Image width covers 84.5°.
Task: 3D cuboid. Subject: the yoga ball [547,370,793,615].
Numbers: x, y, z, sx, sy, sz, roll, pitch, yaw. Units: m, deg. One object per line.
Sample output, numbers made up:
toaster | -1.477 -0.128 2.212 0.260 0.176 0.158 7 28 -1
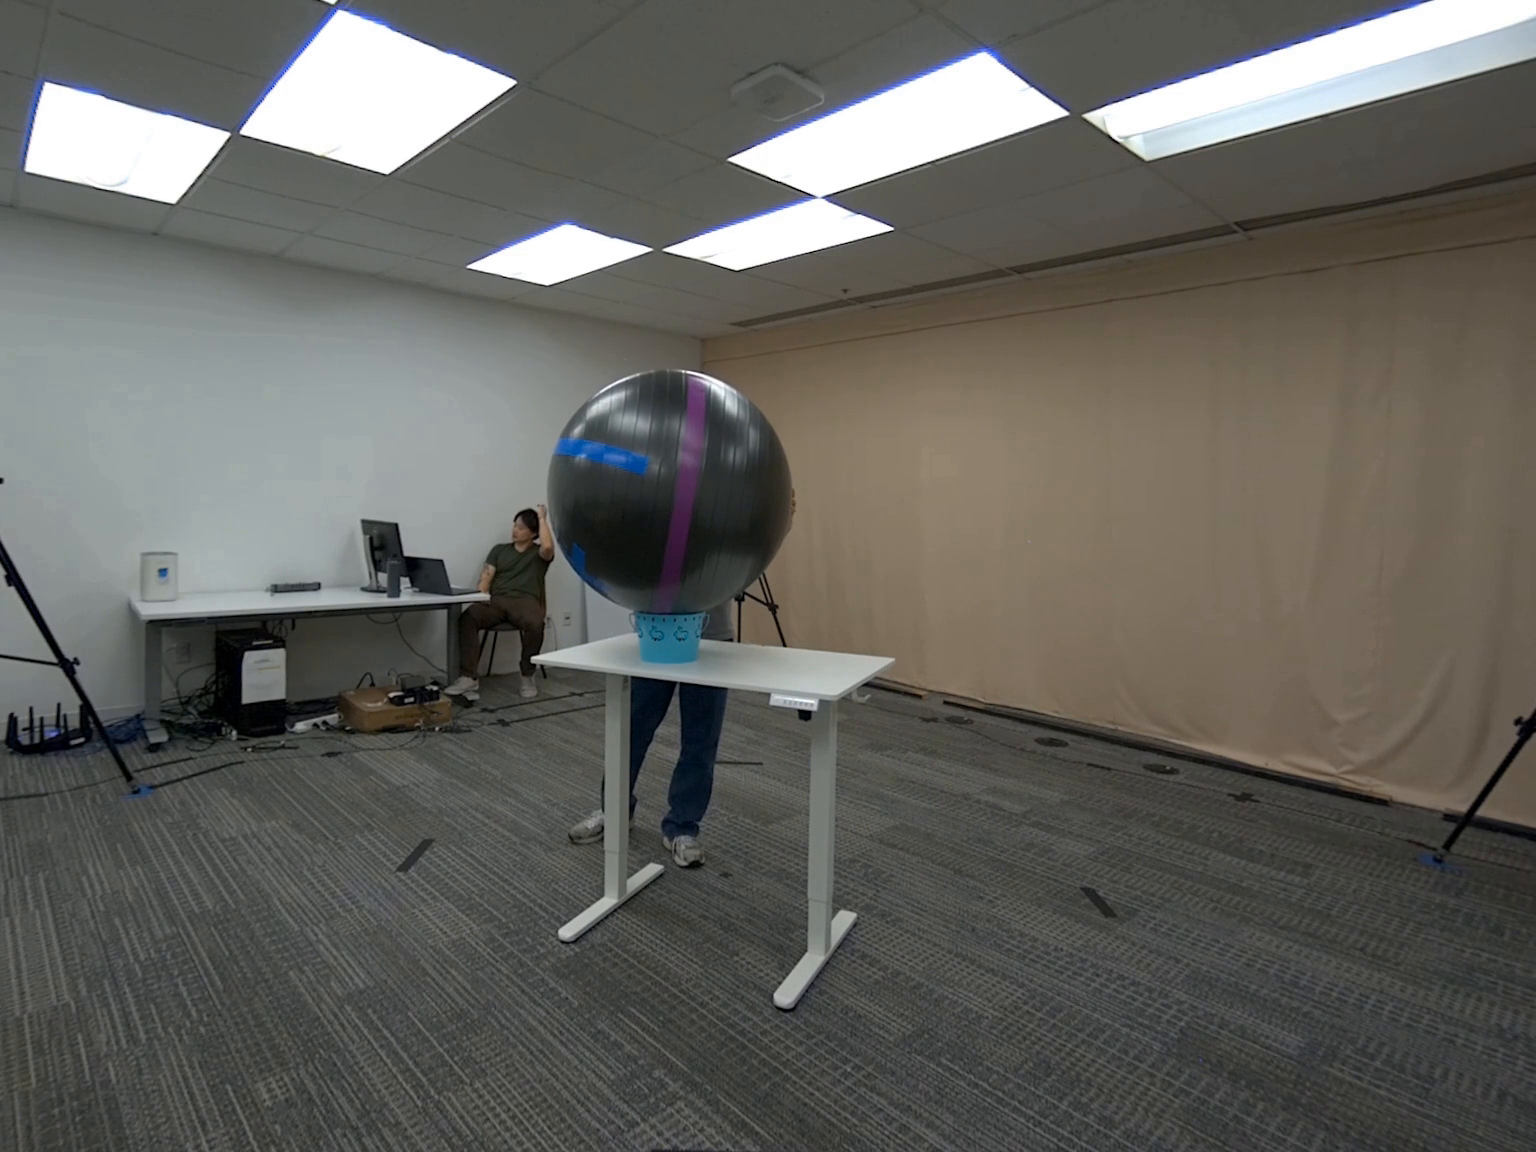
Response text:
yoga ball | -0.305 -0.255 2.630 0.757 0.756 0.761 1 4 -1
